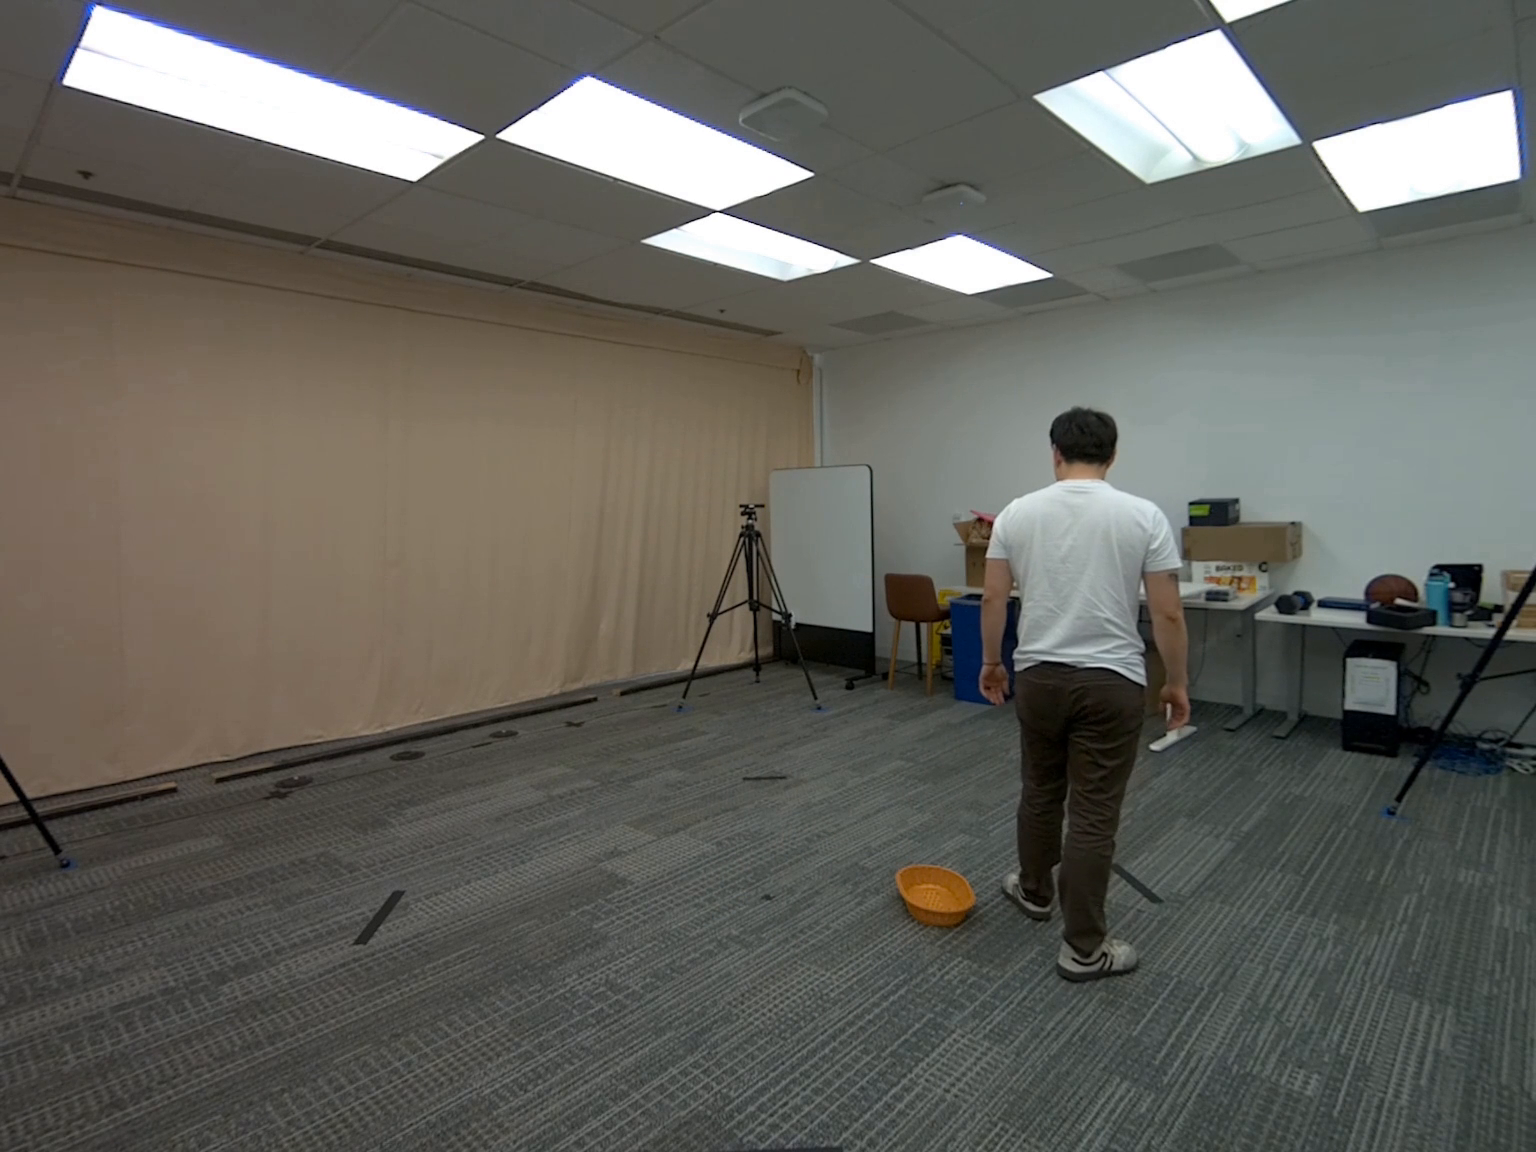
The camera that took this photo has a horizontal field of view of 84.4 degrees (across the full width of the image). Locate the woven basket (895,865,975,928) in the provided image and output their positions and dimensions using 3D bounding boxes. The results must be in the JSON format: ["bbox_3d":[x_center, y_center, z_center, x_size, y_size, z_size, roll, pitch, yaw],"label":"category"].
[{"bbox_3d":[0.570,1.099,2.891,0.253,0.073,0.350,0,5,1],"label":"woven basket"}]
